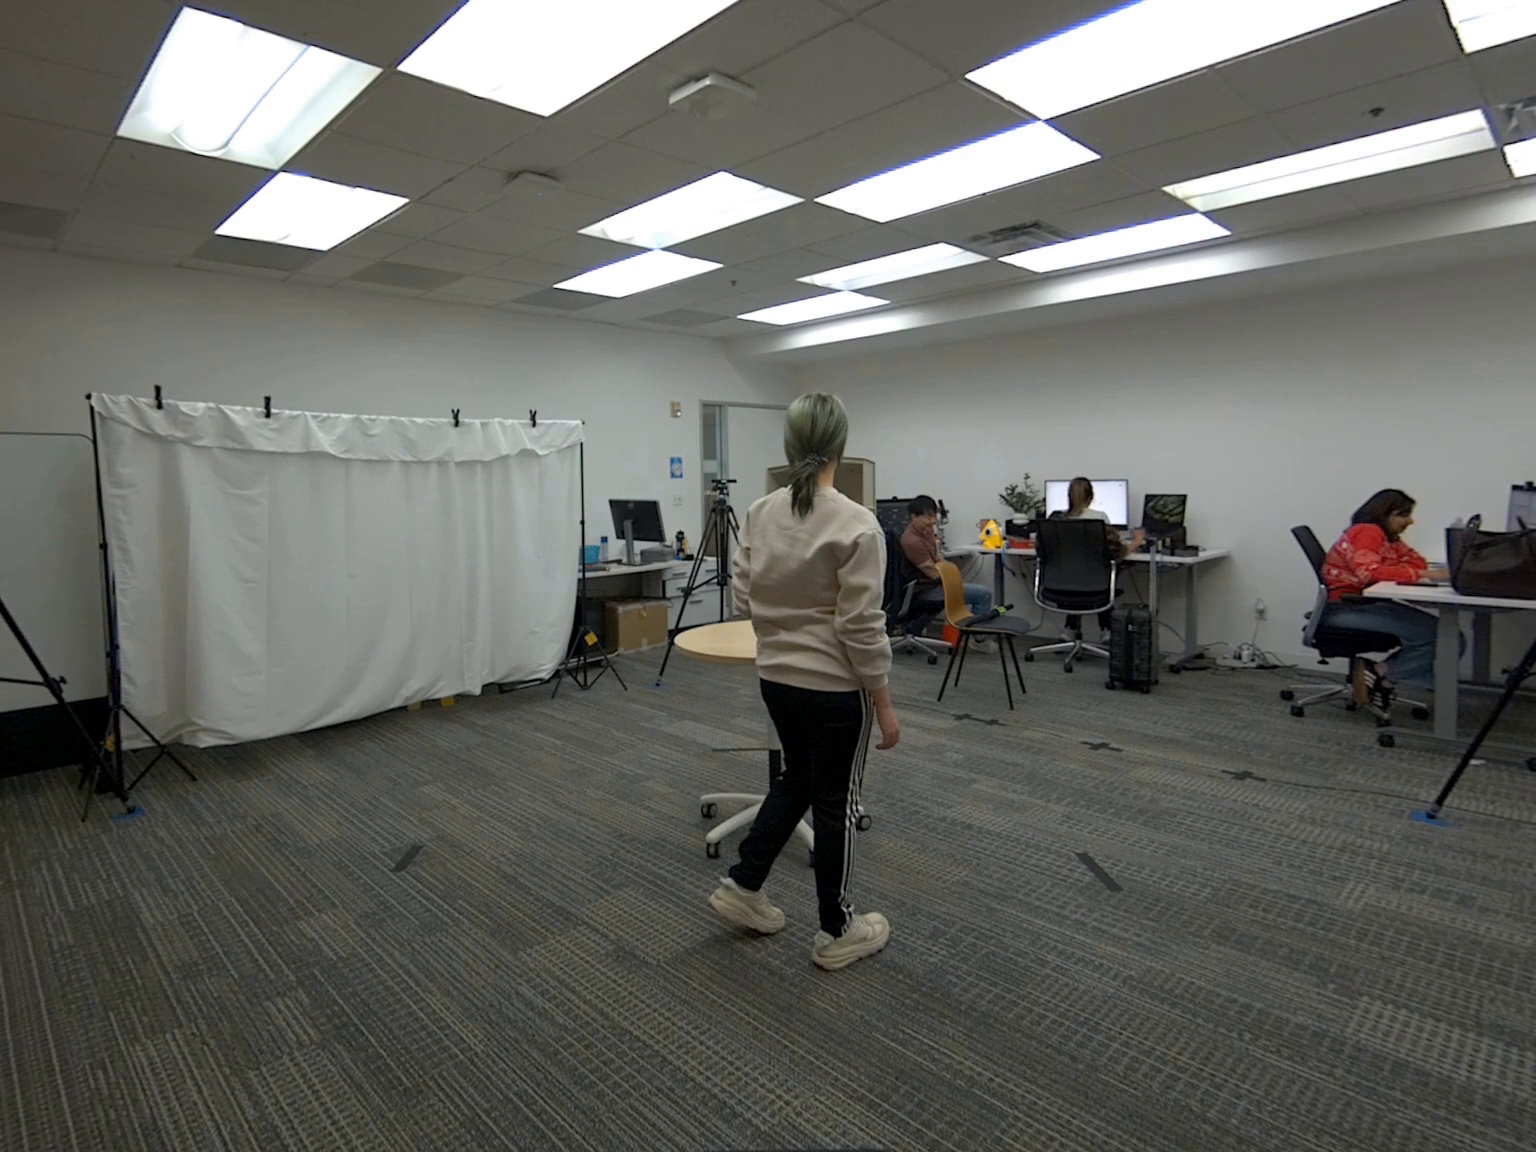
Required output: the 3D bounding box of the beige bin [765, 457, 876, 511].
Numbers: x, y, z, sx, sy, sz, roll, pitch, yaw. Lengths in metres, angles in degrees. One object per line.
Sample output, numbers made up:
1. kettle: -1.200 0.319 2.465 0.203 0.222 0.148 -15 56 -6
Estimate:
1. beige bin: 0.185 -0.166 2.835 0.183 0.424 0.387 4 -5 -38
